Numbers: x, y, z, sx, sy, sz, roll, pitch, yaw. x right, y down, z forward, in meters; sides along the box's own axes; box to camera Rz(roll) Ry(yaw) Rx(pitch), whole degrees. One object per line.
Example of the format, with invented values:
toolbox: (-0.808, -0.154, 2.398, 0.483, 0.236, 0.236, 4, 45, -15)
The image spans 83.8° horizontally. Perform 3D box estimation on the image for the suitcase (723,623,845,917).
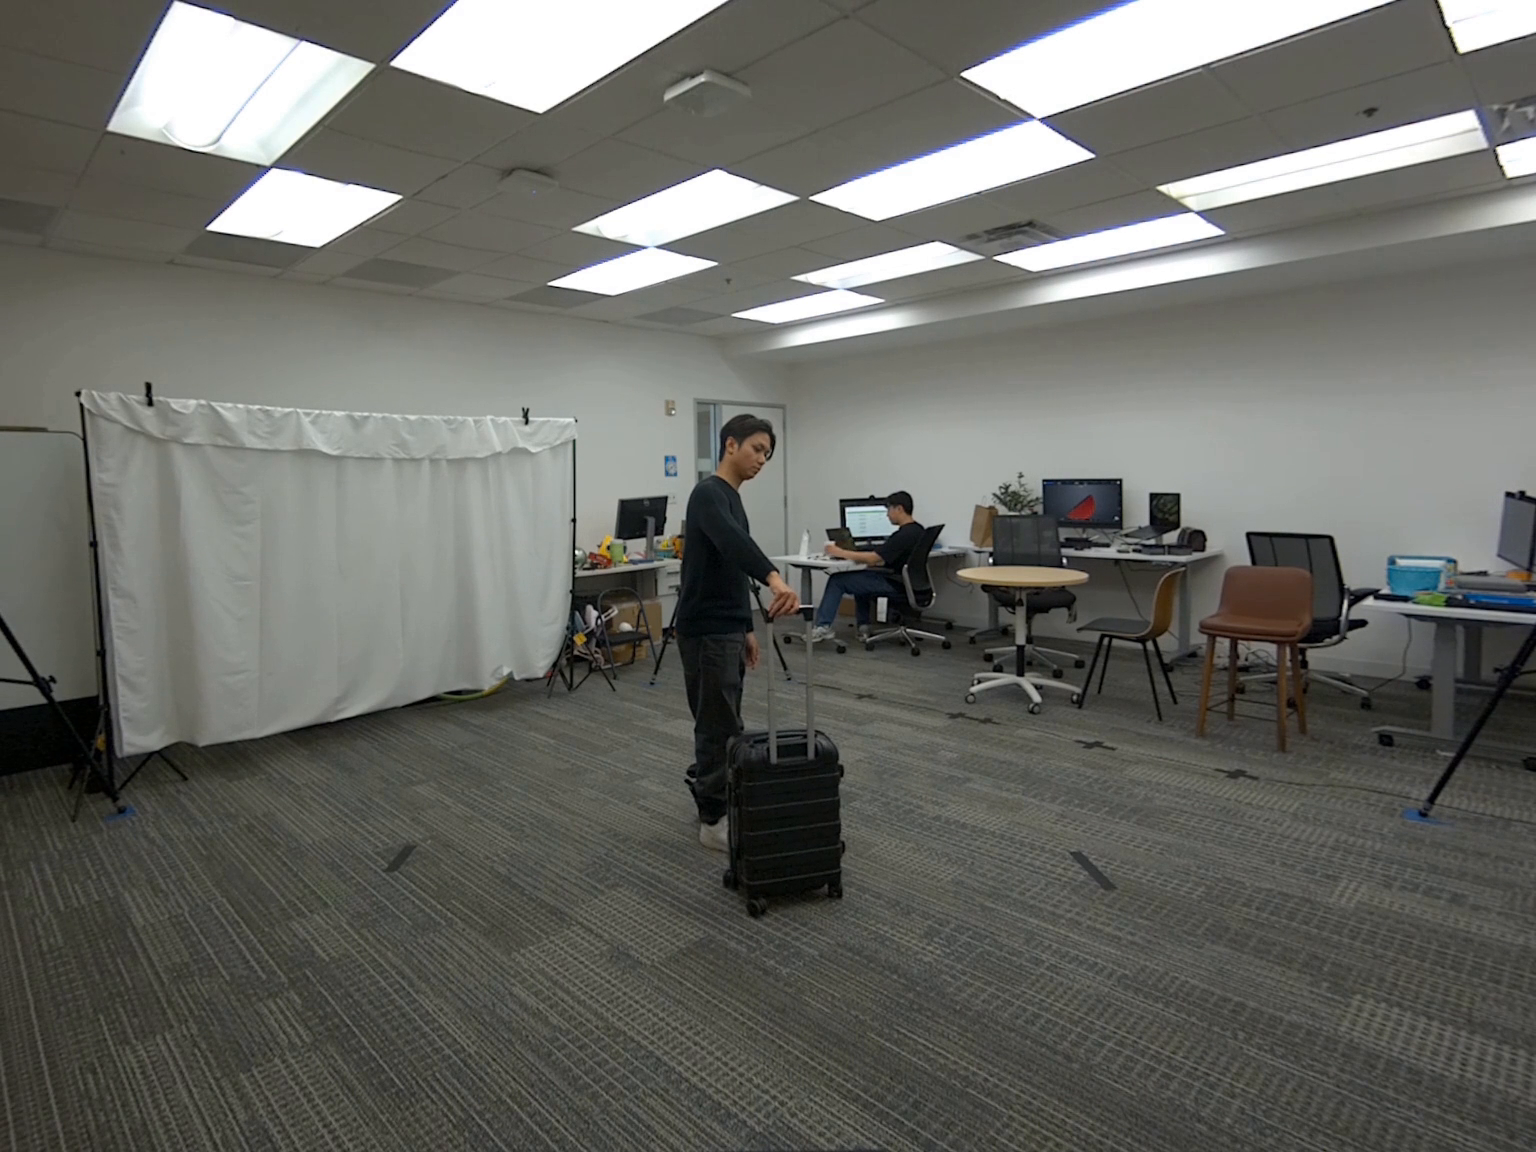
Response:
suitcase: (0.047, 0.587, 2.868, 0.379, 0.978, 0.261, -2, 1, -15)
